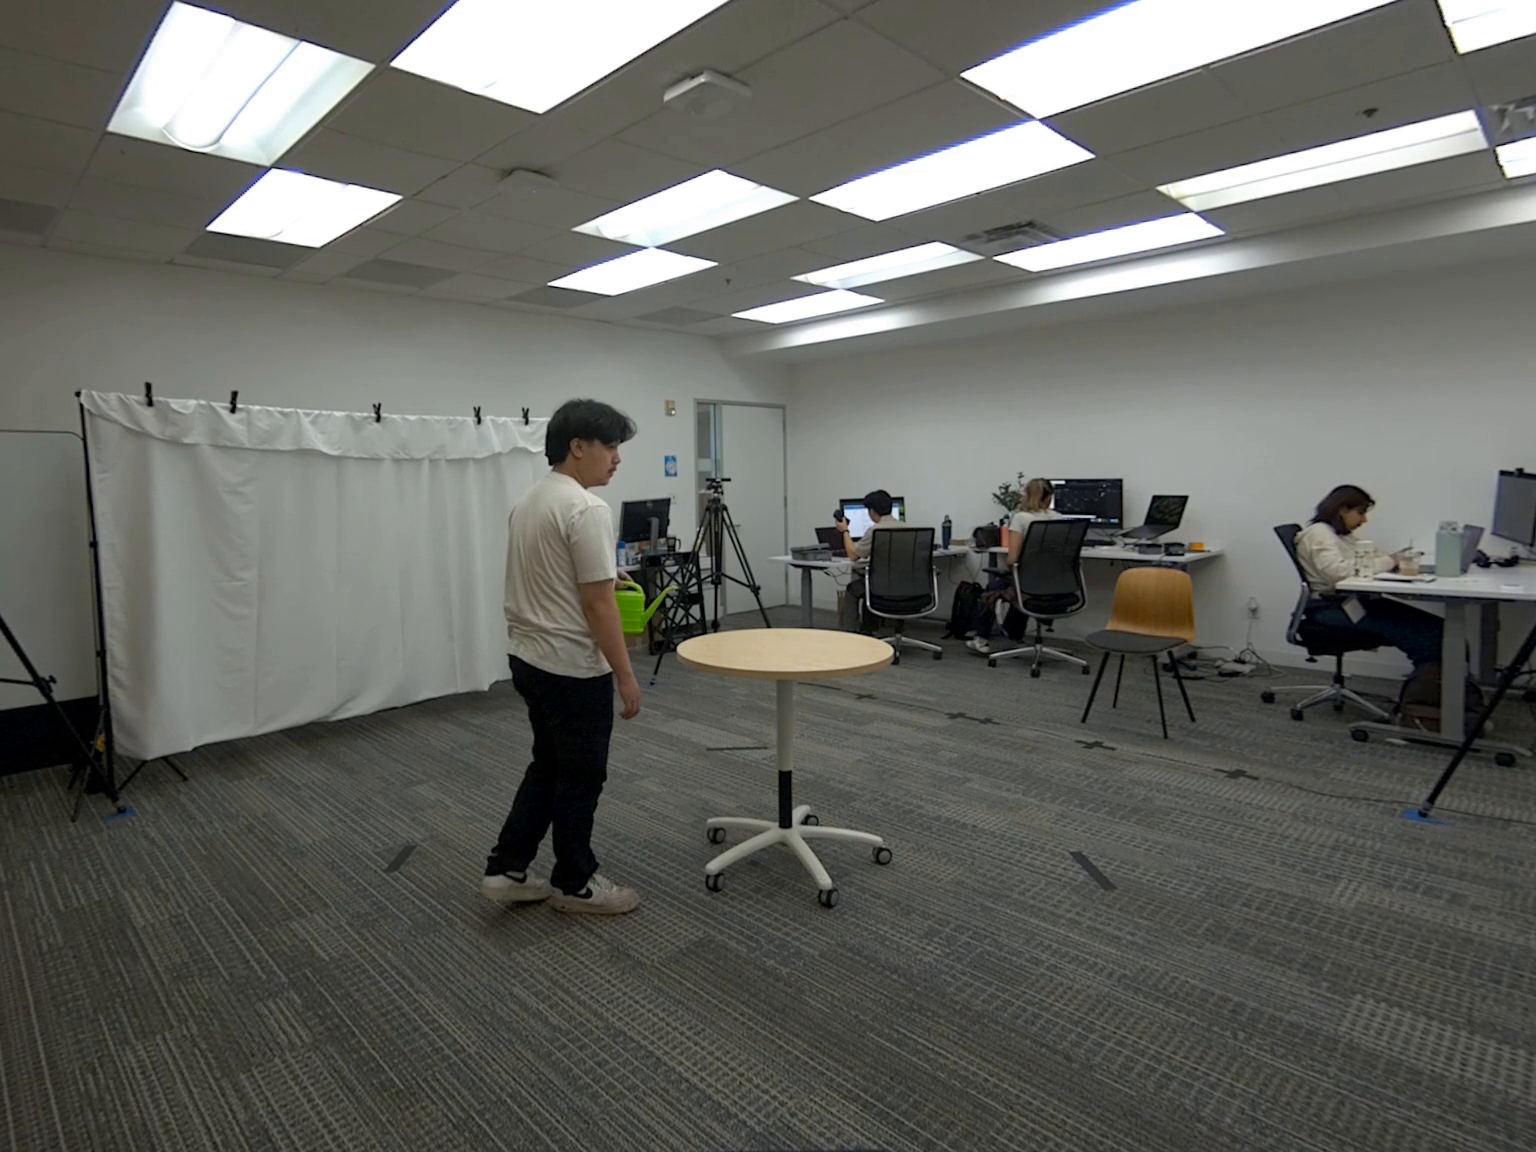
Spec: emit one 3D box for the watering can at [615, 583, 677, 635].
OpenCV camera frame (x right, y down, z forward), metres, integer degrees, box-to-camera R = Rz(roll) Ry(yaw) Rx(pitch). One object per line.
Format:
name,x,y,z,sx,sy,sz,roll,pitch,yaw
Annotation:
watering can,-0.461,0.113,2.972,0.286,0.176,0.095,6,5,32
